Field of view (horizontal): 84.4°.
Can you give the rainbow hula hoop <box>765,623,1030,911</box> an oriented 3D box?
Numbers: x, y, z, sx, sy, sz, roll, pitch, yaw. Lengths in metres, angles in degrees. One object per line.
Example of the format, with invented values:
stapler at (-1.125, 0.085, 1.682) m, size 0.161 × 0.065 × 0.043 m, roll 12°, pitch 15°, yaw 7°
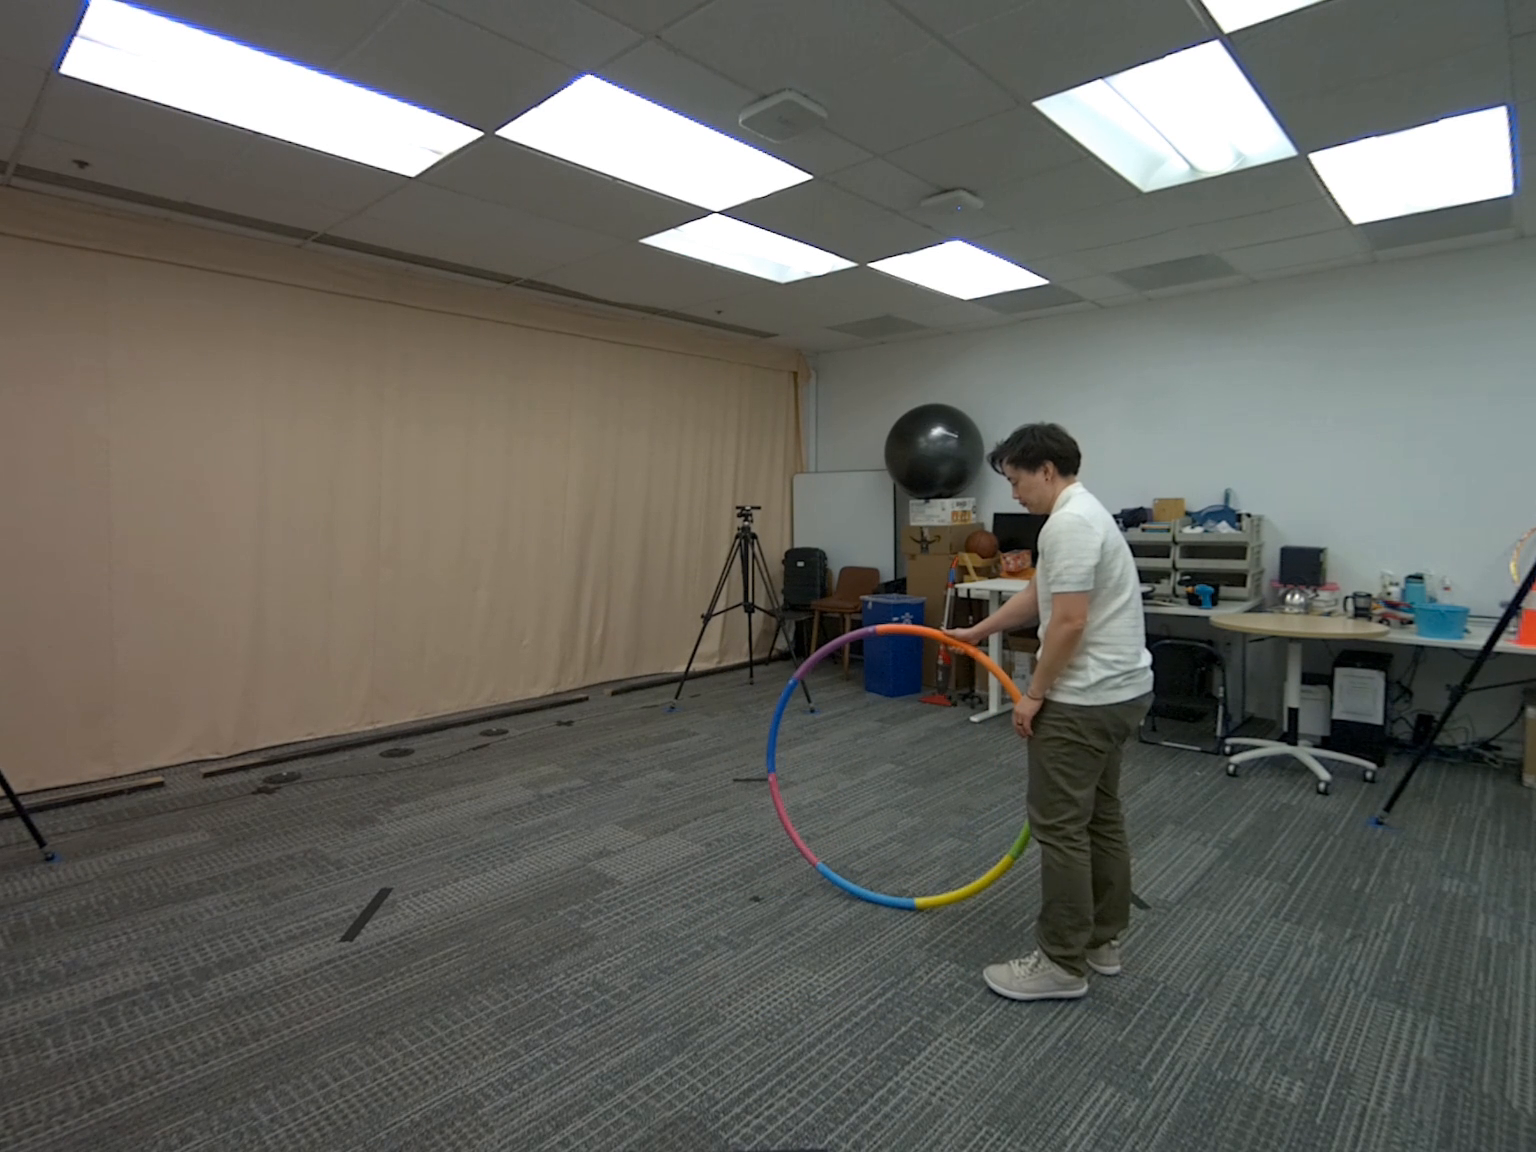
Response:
rainbow hula hoop at (0.455, 0.665, 3.000) m, size 1.004 × 0.983 × 0.034 m, roll 2°, pitch -10°, yaw 25°
